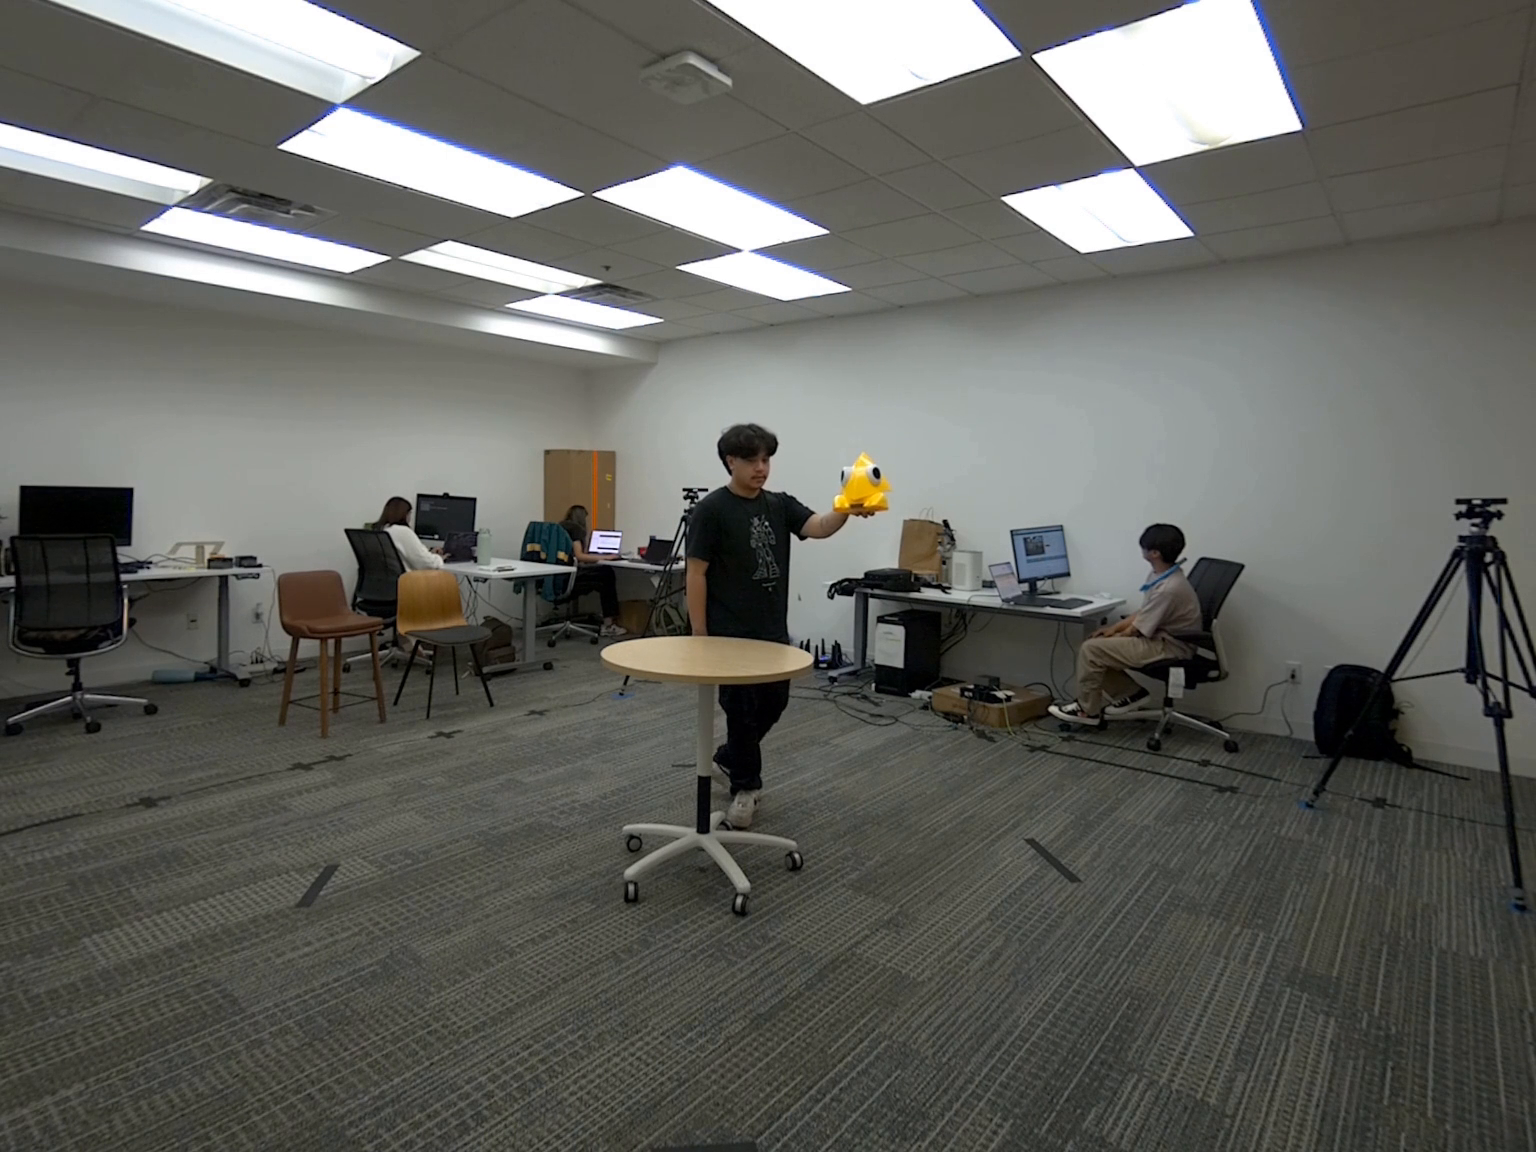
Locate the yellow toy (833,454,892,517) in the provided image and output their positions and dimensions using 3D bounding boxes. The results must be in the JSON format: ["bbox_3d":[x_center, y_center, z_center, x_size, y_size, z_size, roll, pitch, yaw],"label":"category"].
[{"bbox_3d":[0.336,-0.364,3.174,0.209,0.232,0.188,-1,-5,21],"label":"yellow toy"}]
